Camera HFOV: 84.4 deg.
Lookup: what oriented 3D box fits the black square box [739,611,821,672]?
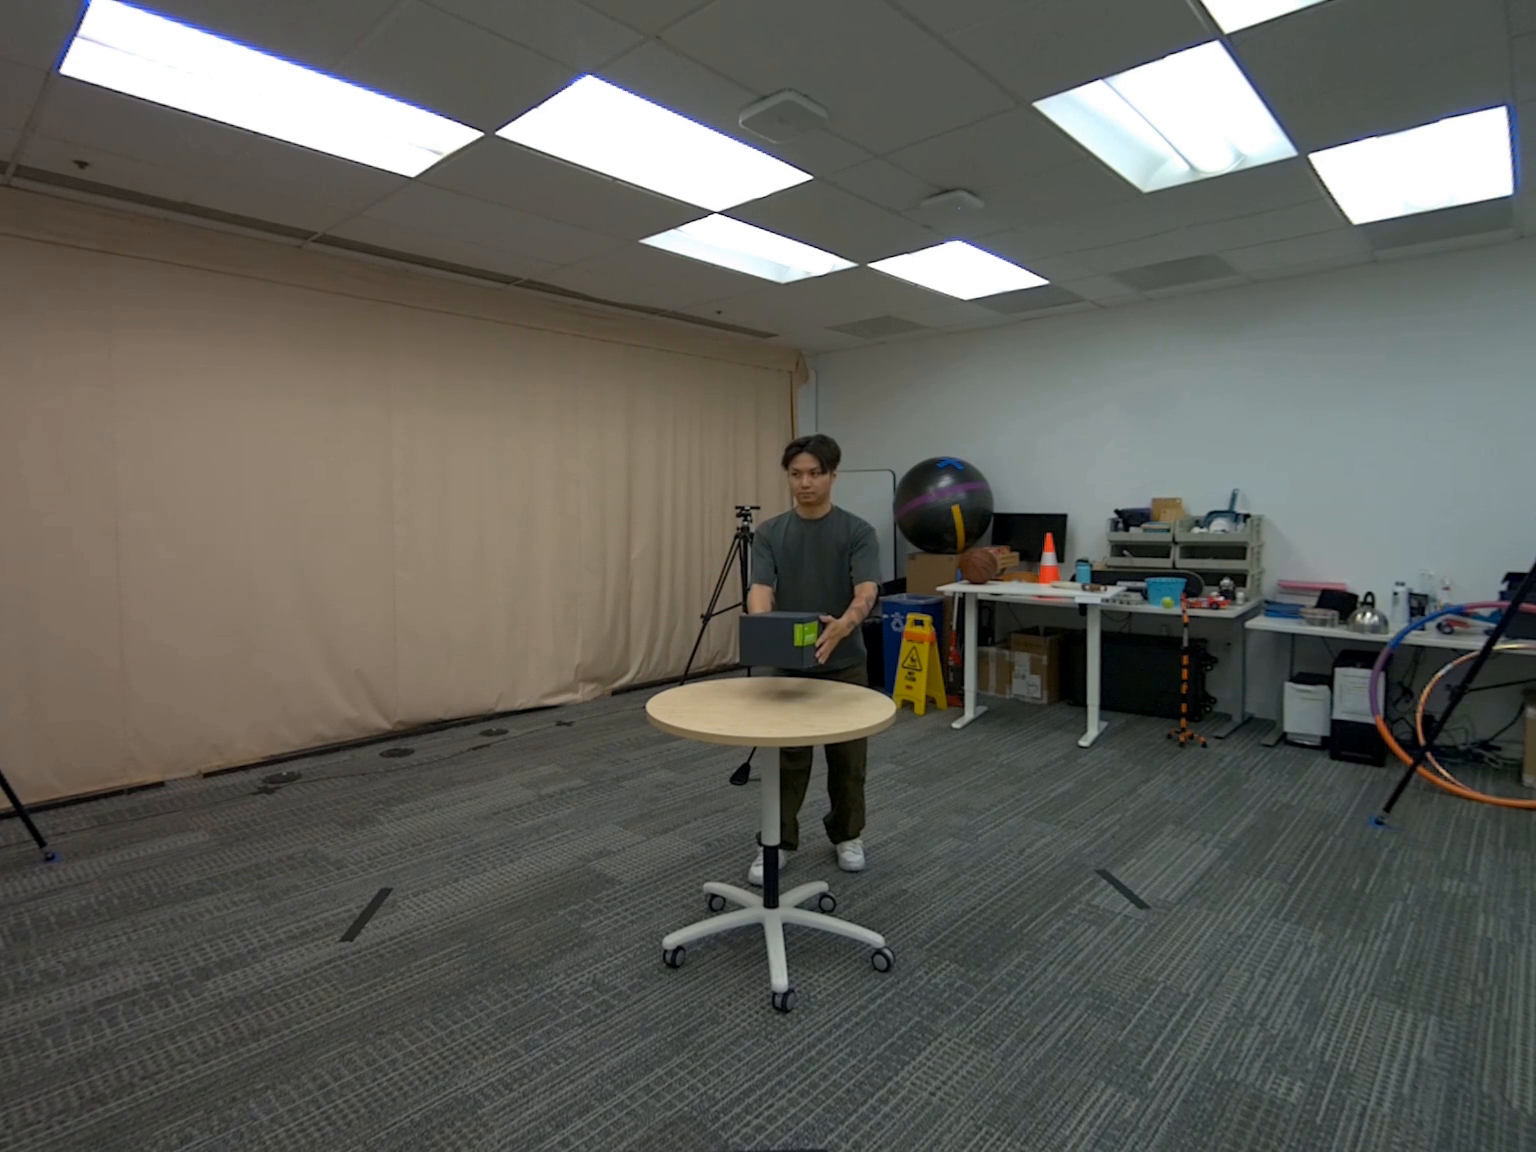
[{"bbox_3d":[0.052,0.196,2.682,0.222,0.156,0.222,1,1,24],"label":"black square box"}]
